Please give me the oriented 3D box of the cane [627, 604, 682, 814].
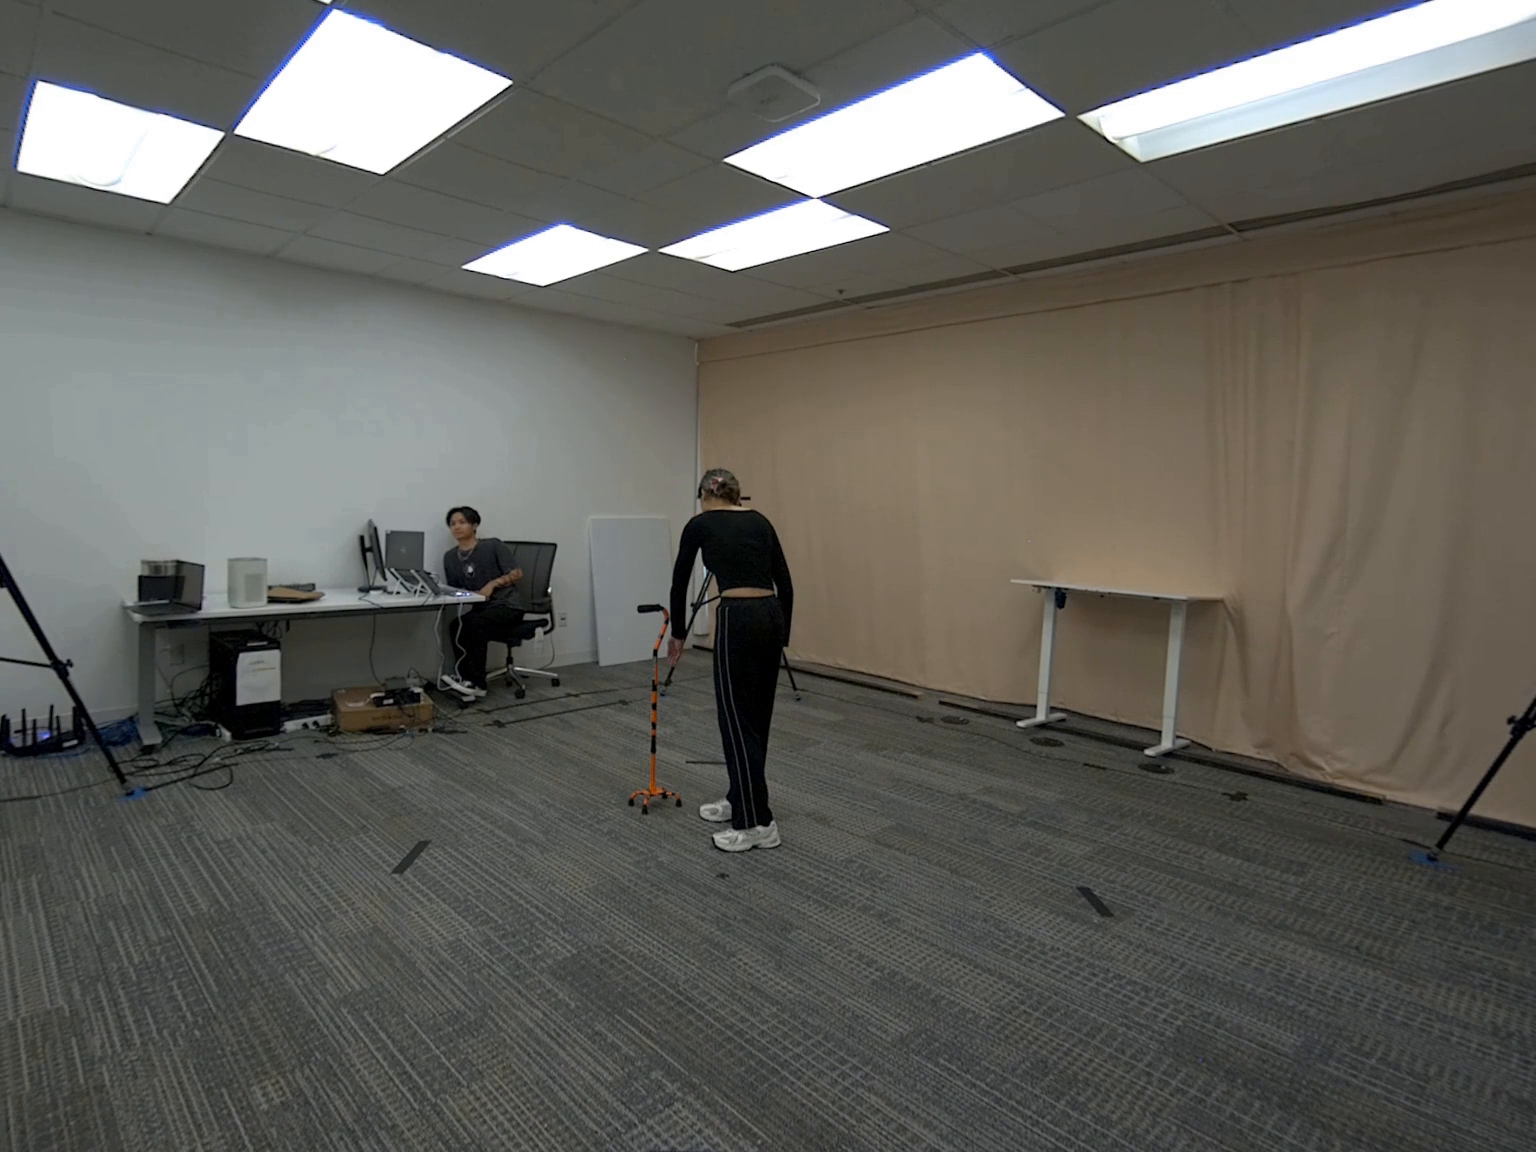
[{"bbox_3d":[-0.510,0.586,3.777,0.202,0.906,0.155,-1,3,-36],"label":"cane"}]
